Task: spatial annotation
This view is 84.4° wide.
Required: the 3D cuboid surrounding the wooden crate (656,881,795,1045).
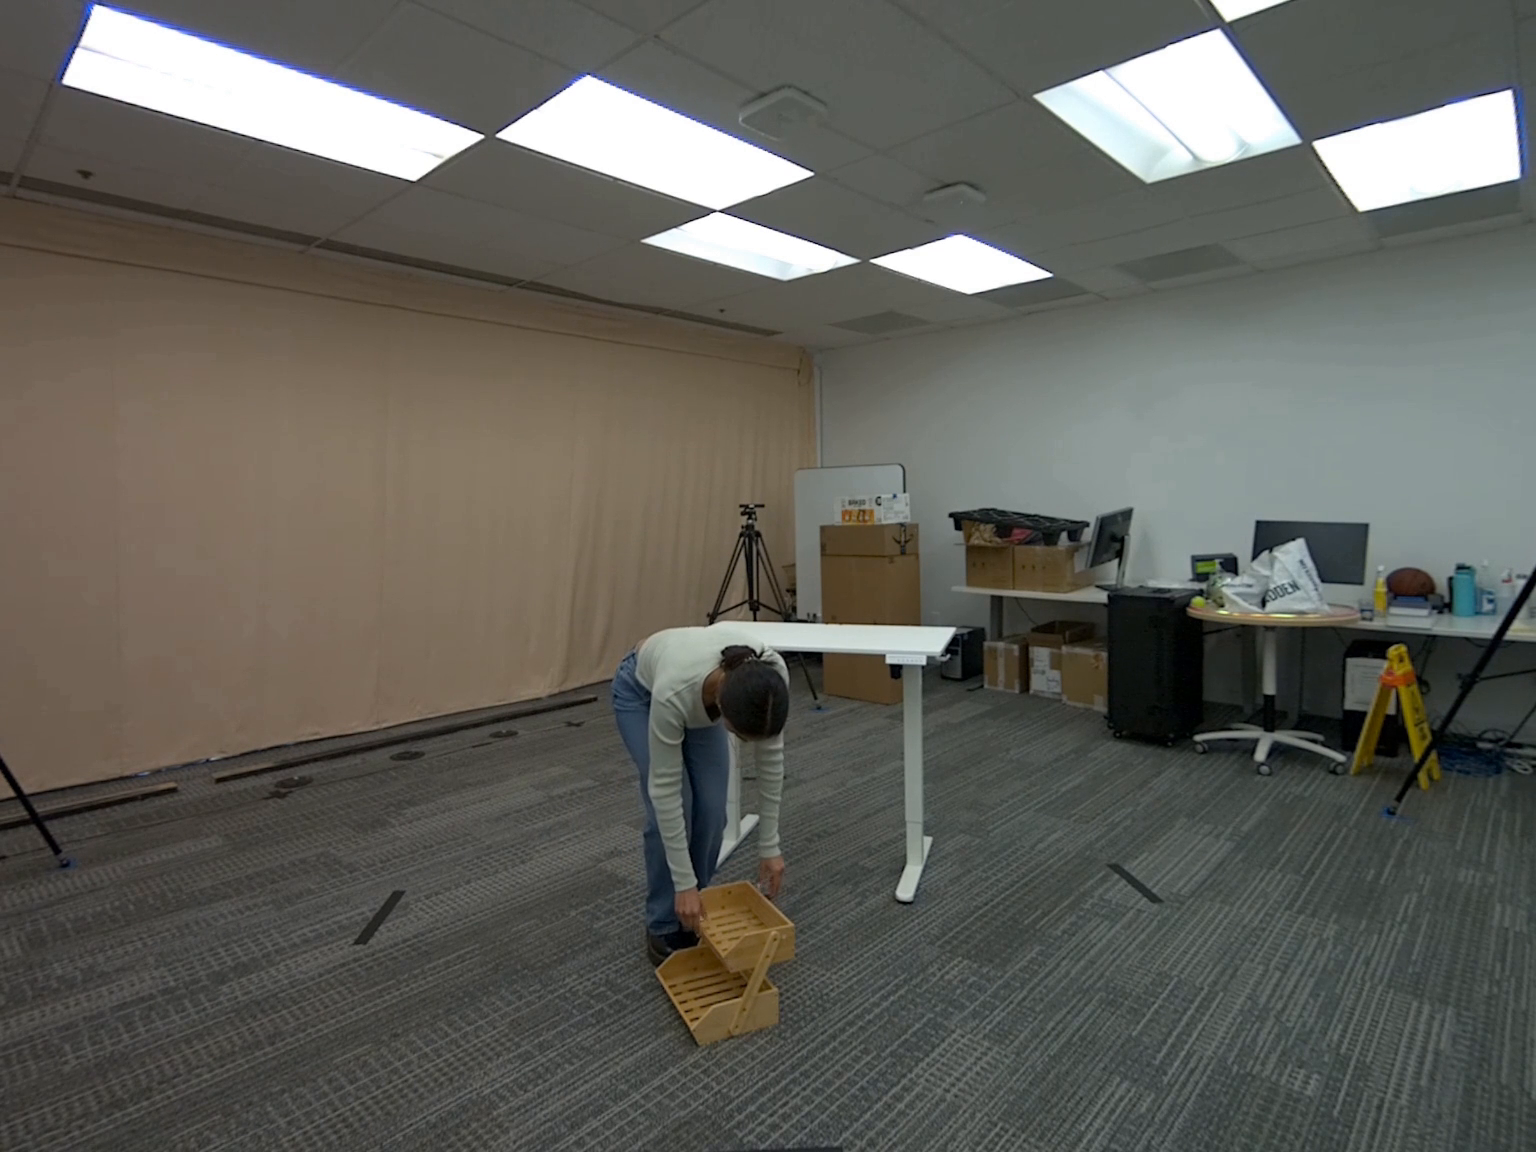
[{"bbox_3d":[-0.127,1.059,2.350,0.295,0.273,0.333,-2,4,-25],"label":"wooden crate"}]
